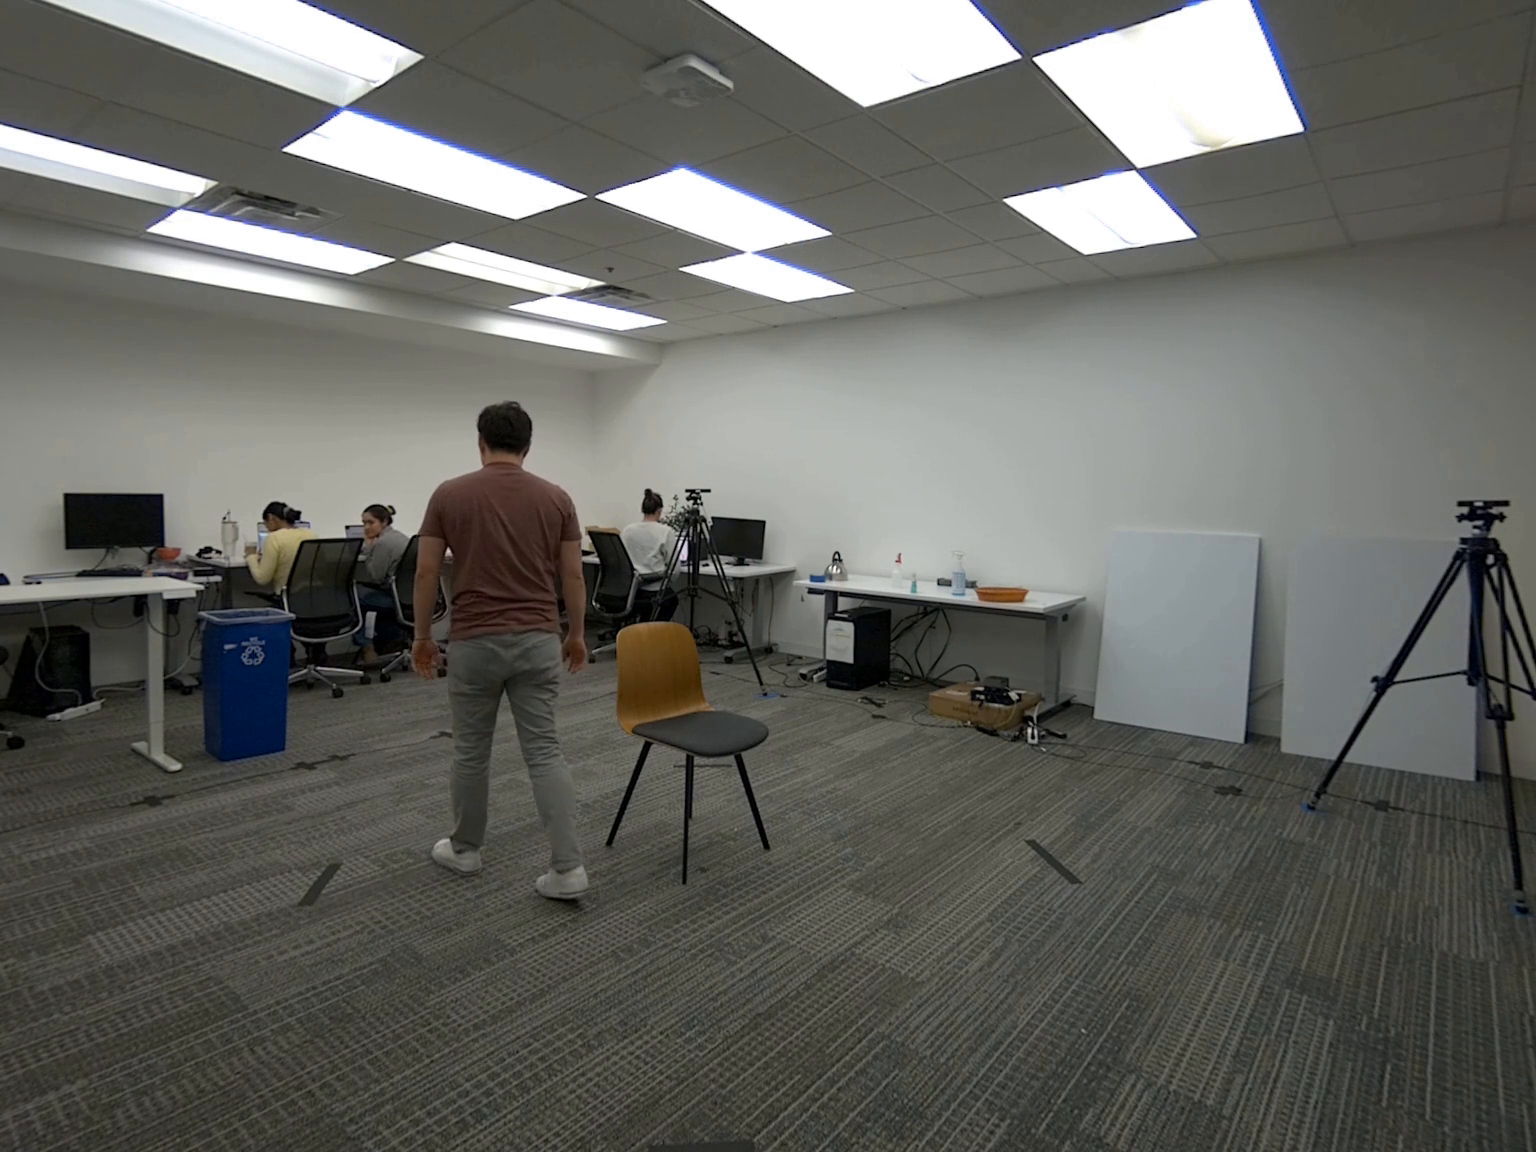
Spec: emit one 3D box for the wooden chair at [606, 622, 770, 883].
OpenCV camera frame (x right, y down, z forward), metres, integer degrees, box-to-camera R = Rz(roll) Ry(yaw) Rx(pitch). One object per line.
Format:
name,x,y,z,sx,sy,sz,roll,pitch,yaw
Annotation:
wooden chair,-0.305,0.628,3.274,0.539,0.878,0.463,-2,0,44
